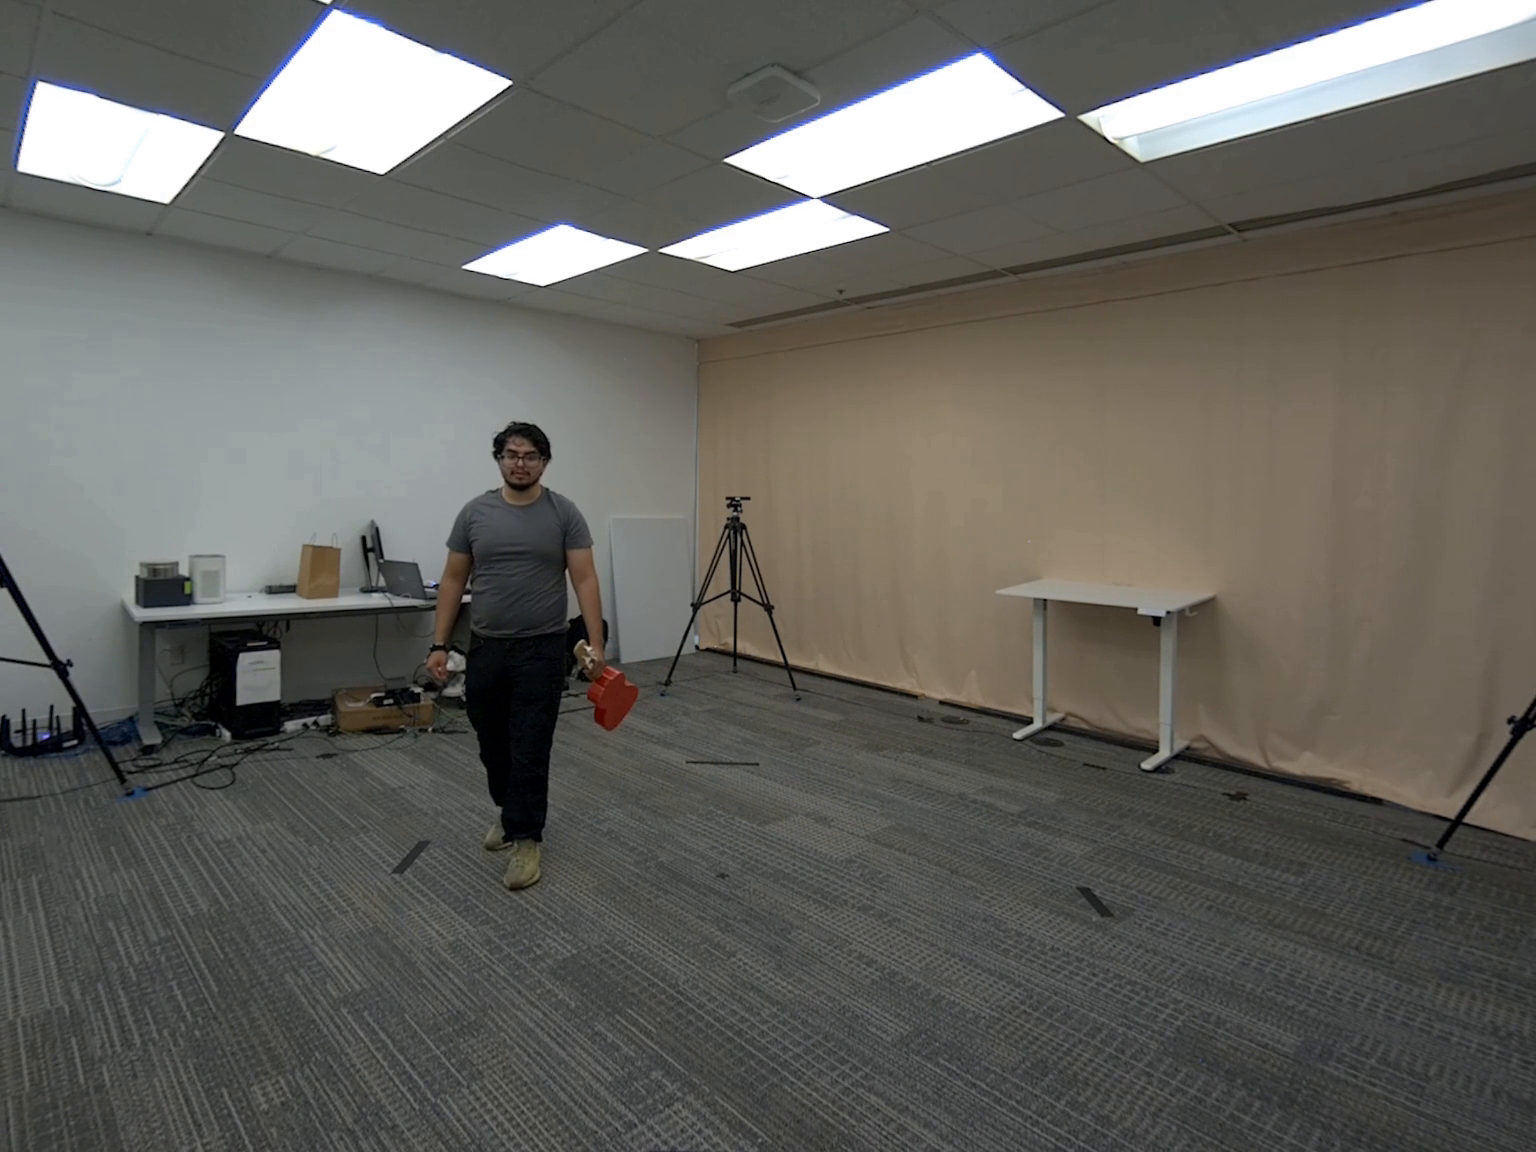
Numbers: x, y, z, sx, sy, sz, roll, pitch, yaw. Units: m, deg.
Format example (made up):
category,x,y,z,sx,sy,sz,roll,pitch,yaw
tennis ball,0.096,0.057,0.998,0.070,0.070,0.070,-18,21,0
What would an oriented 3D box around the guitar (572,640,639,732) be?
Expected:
category,x,y,z,sx,sy,sz,roll,pitch,yaw
guitar,-0.609,0.405,3.005,0.072,0.194,0.485,23,-19,20
